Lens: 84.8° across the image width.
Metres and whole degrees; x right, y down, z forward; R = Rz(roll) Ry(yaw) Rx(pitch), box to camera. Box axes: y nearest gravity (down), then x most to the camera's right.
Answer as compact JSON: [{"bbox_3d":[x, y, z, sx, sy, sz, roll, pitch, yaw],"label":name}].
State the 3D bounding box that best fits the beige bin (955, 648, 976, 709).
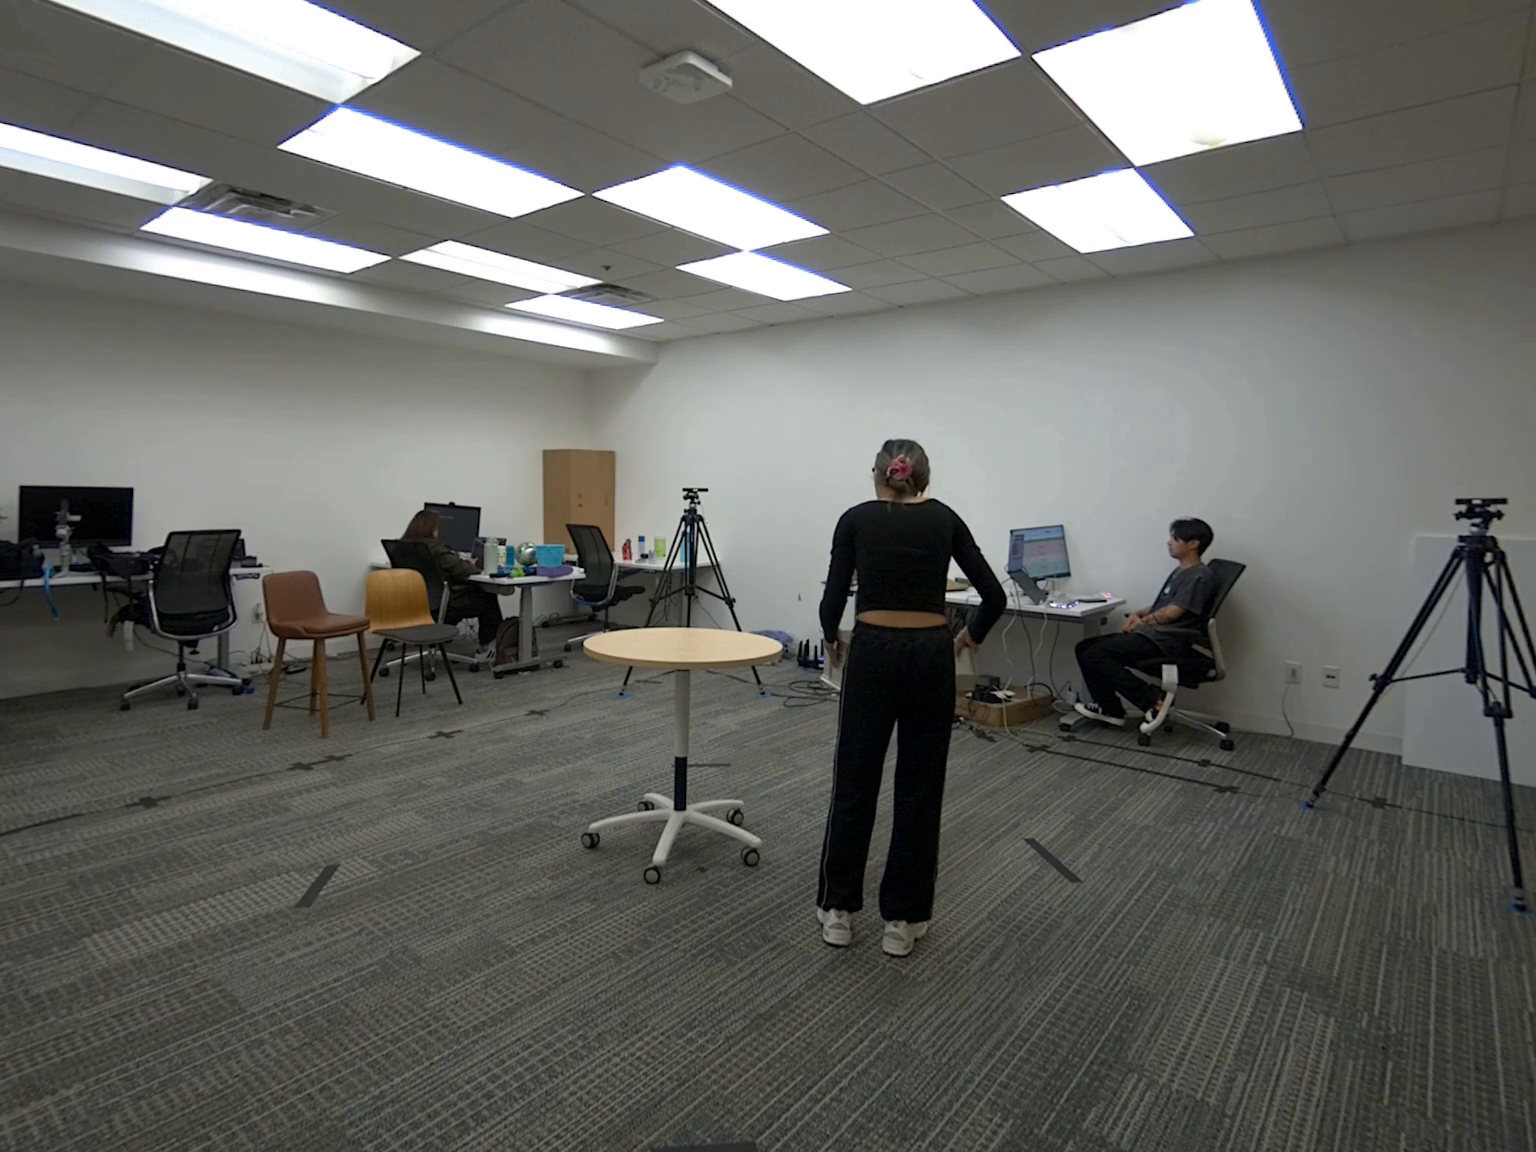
[{"bbox_3d":[0.439,0.299,2.926,0.416,0.189,0.383,0,1,-14],"label":"beige bin"}]
